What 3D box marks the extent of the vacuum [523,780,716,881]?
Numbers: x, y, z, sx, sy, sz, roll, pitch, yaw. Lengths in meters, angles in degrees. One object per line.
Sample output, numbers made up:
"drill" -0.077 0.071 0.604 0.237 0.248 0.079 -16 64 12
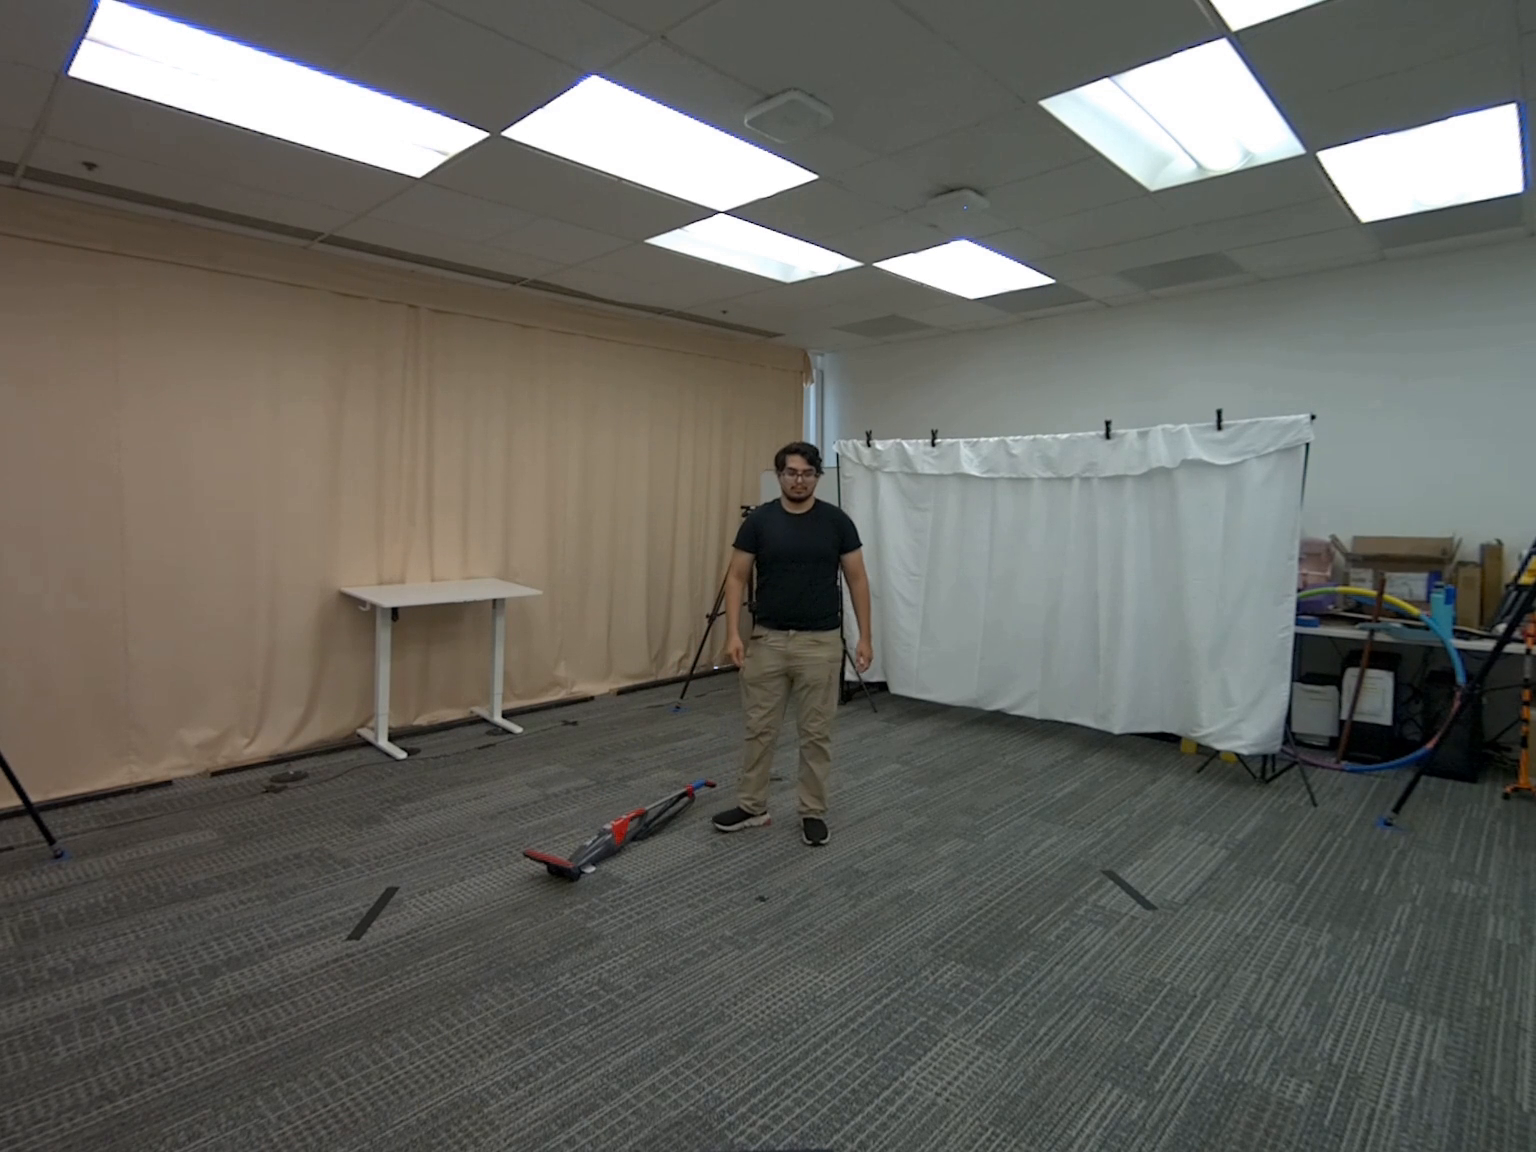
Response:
"vacuum" -0.527 1.044 3.560 0.260 0.143 1.021 4 7 31
